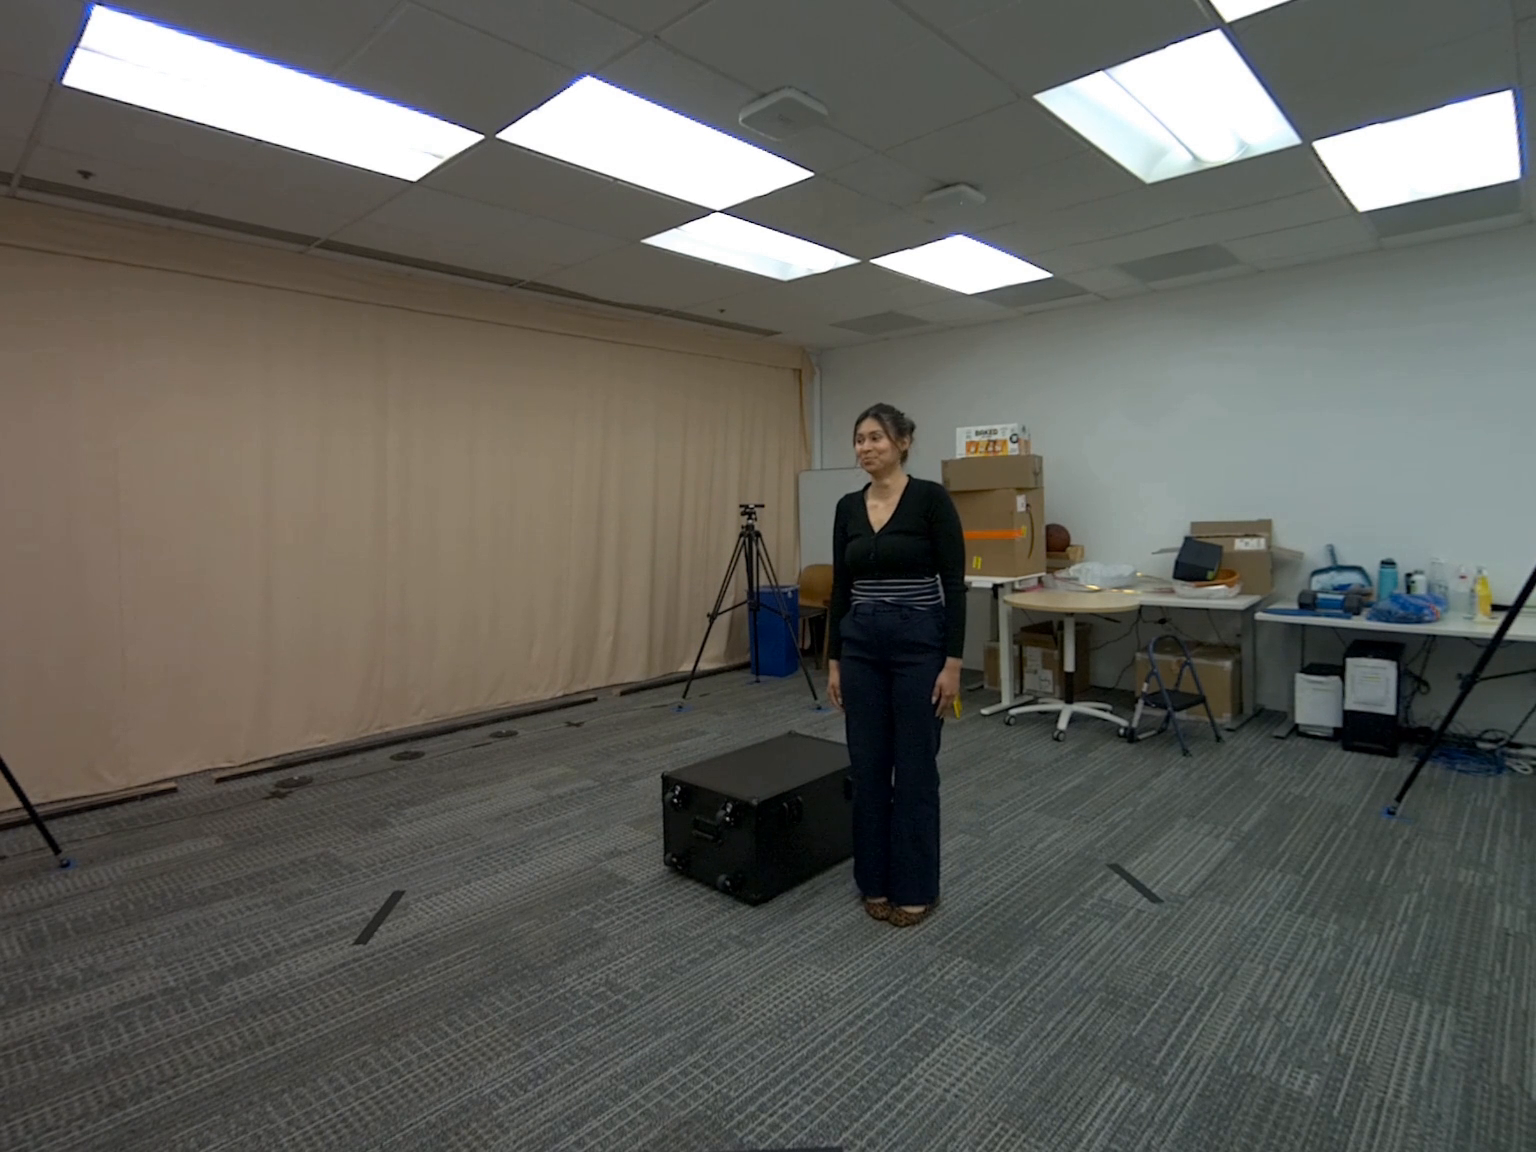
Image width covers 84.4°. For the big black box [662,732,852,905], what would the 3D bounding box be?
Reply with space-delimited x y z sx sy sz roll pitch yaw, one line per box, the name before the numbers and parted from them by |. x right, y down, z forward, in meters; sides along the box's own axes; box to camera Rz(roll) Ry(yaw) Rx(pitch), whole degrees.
big black box | 0.055 0.917 3.336 0.539 0.395 0.836 4 7 43
